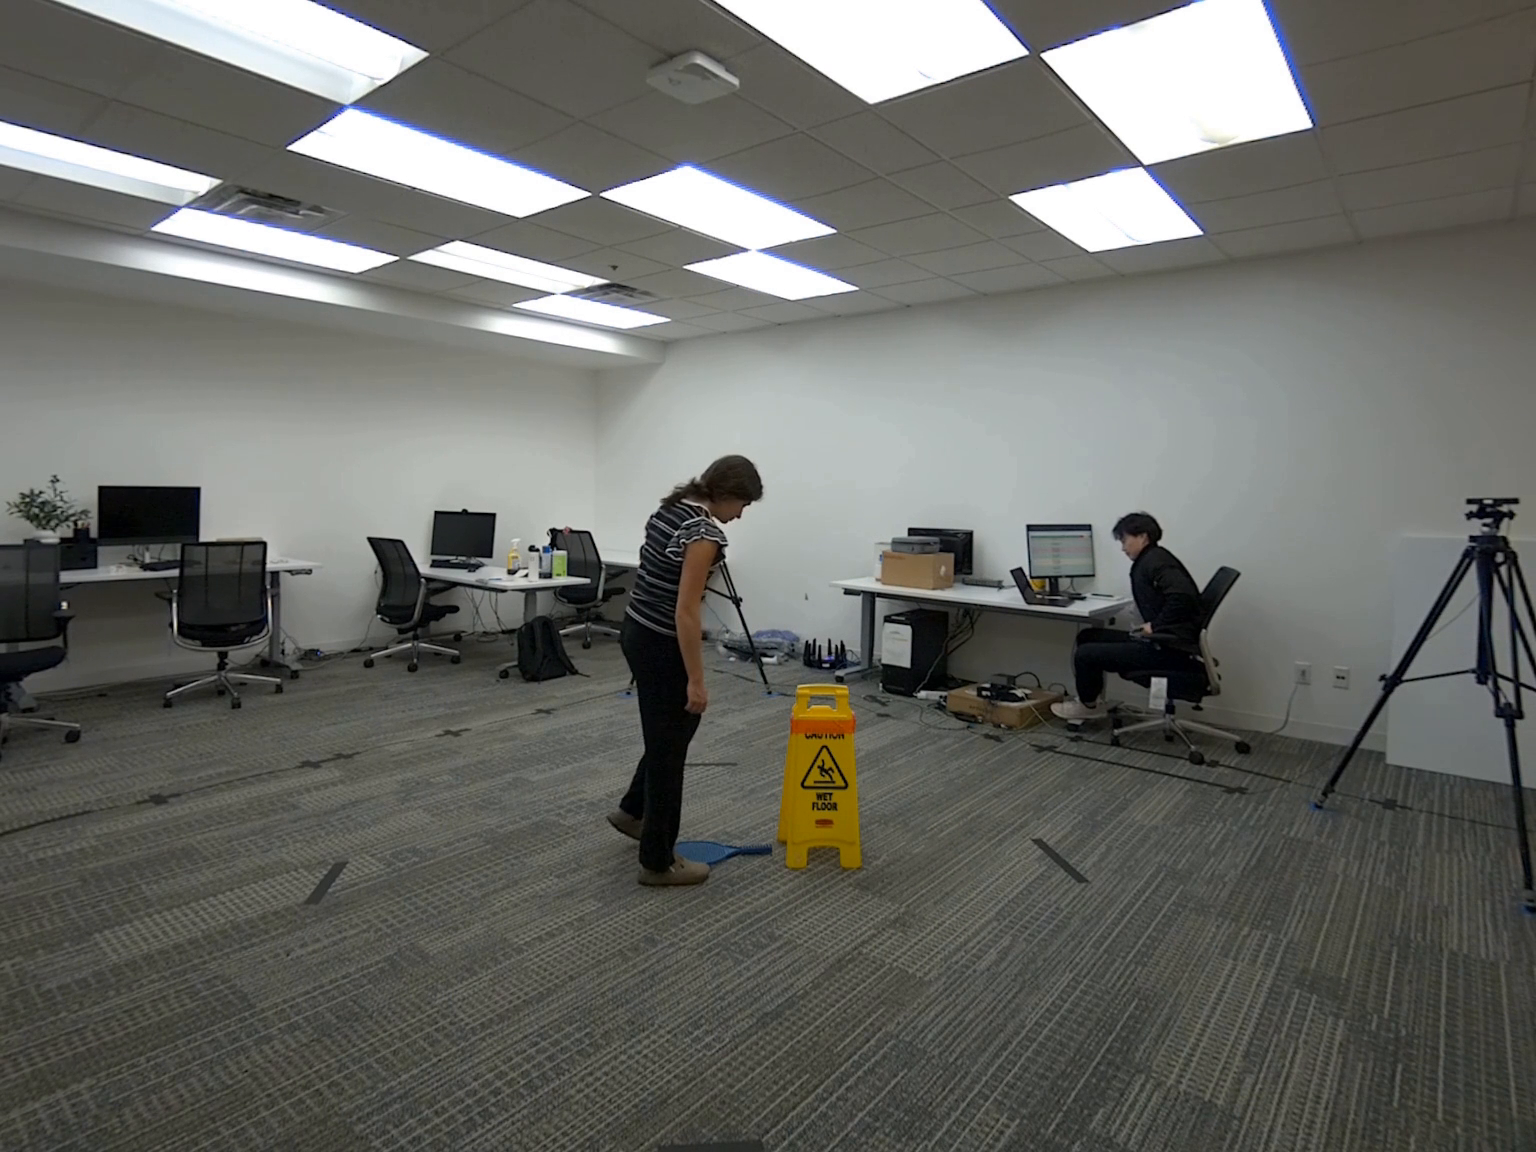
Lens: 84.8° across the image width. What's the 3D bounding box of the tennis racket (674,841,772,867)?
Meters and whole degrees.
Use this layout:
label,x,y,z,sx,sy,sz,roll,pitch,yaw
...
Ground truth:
label,x,y,z,sx,sy,sz,roll,pitch,yaw
tennis racket,-0.209,1.047,3.231,0.431,0.031,0.215,-2,5,-5
